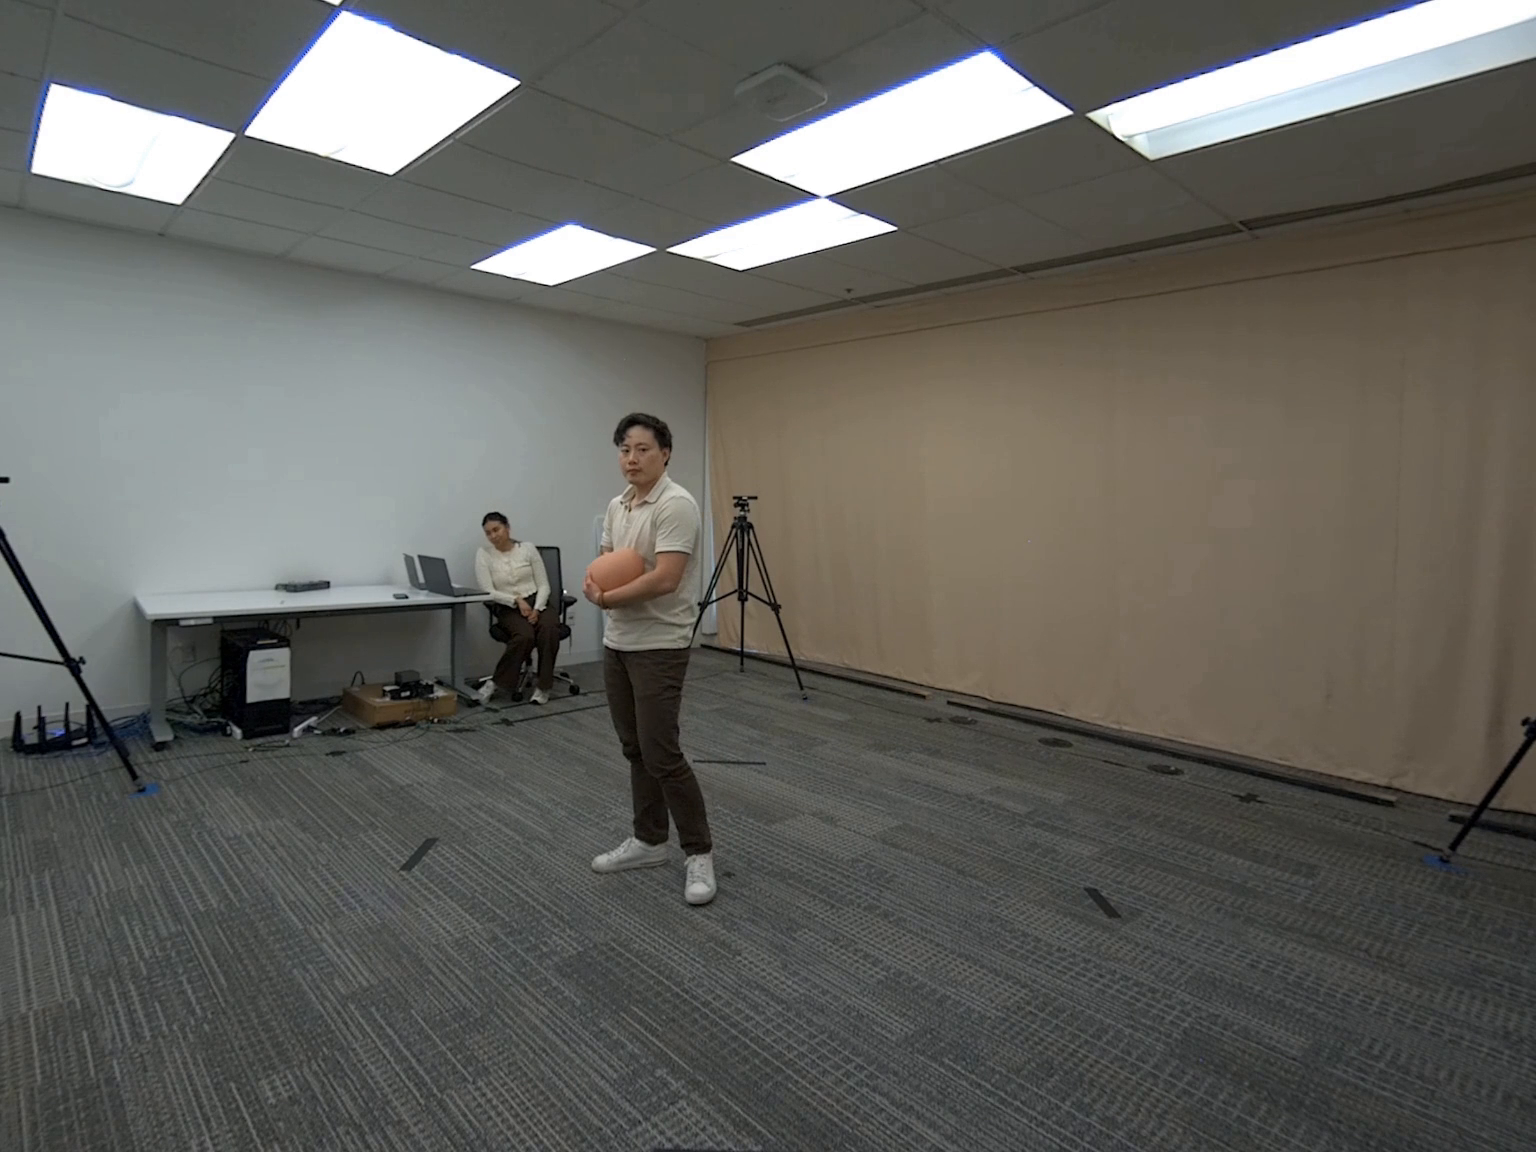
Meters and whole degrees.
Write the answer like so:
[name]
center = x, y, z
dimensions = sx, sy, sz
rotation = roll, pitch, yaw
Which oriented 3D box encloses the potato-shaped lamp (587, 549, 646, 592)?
[potato-shaped lamp]
center = -0.522, -0.014, 2.934
dimensions = 0.159, 0.198, 0.177
rotation = 46, 8, -41
